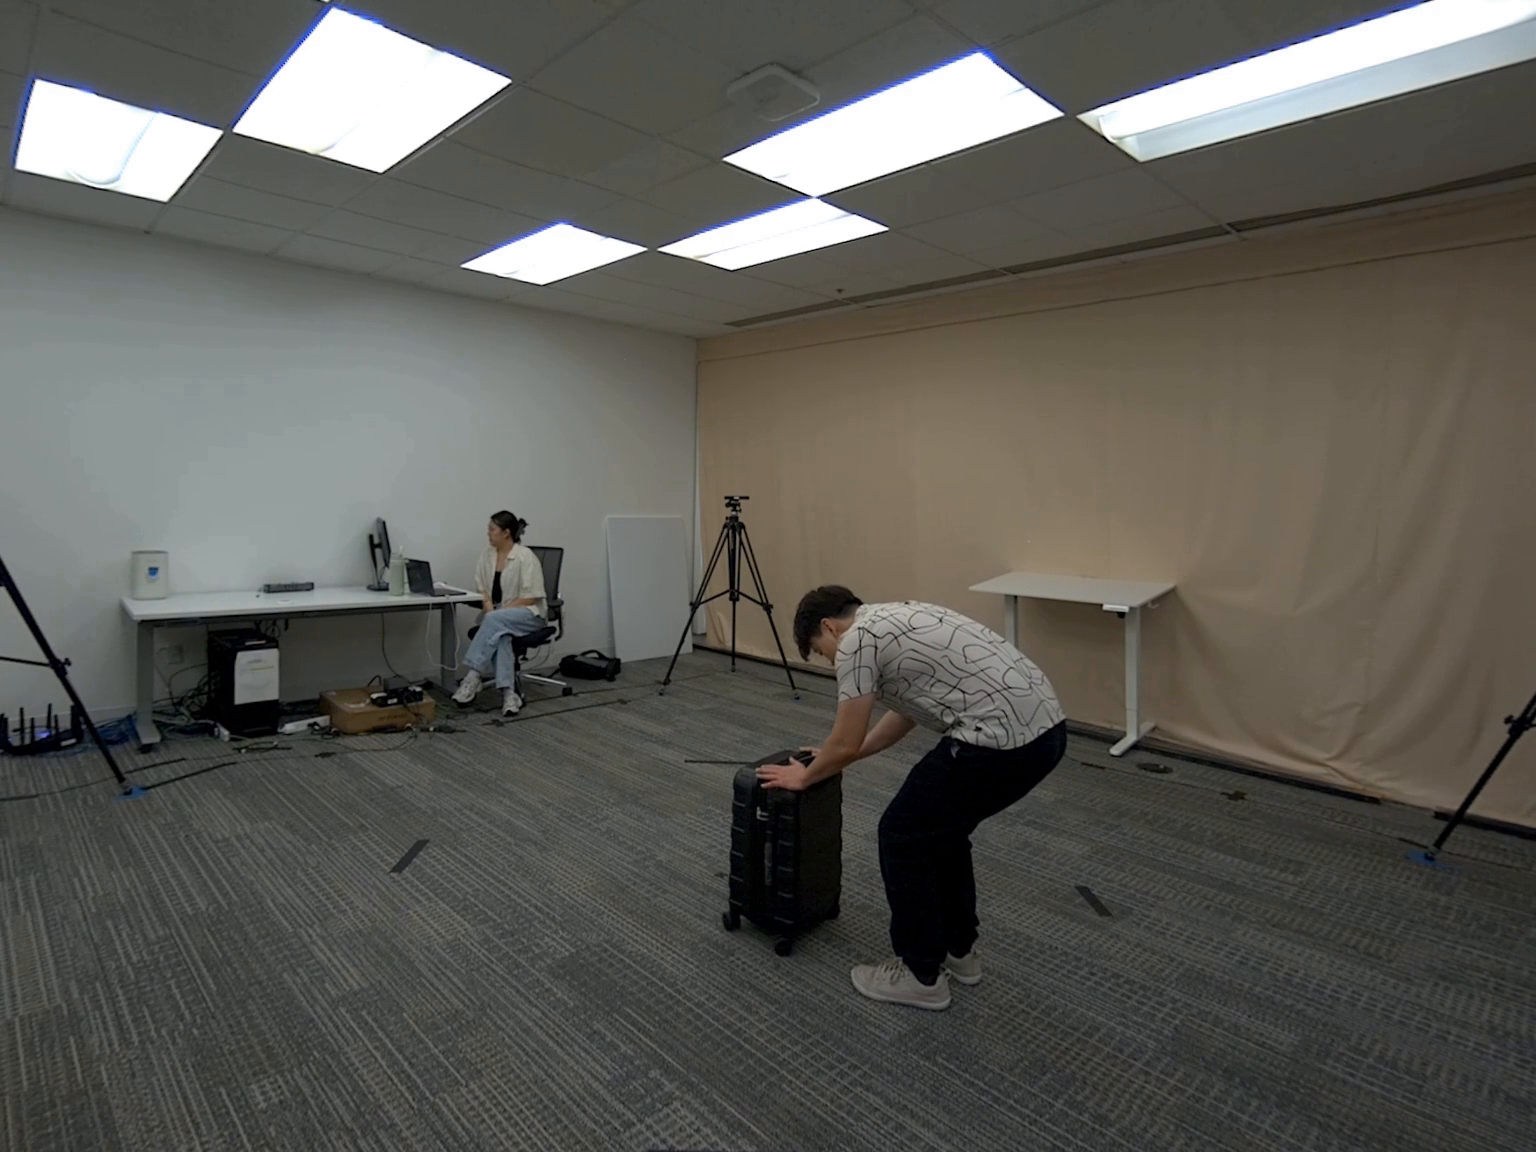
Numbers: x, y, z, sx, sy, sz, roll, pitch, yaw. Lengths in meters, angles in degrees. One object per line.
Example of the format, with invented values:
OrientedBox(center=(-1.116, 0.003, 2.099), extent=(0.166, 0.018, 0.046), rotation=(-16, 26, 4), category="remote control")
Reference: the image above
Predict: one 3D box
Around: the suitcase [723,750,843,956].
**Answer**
OrientedBox(center=(0.055, 0.865, 2.746), extent=(0.254, 0.548, 0.367), rotation=(5, 5, 35), category="suitcase")
